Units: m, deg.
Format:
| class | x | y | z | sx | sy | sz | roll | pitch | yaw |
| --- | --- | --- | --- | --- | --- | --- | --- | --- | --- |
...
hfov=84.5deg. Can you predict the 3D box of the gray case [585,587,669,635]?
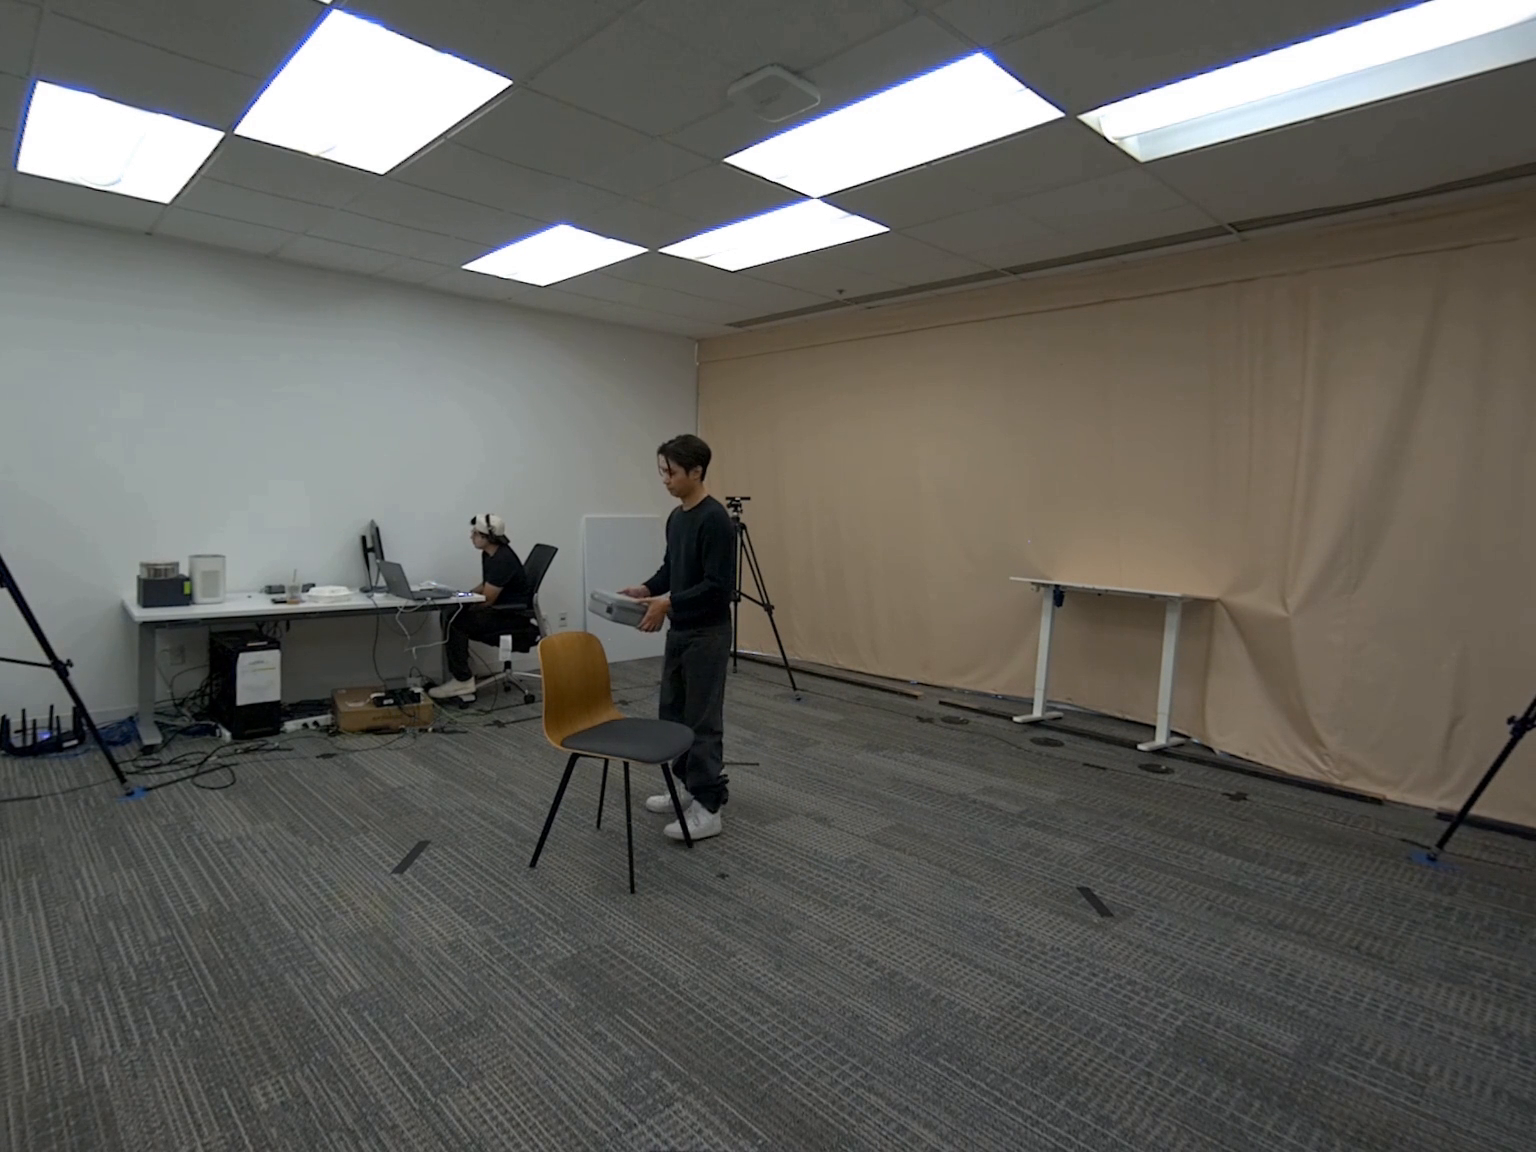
| class | x | y | z | sx | sy | sz | roll | pitch | yaw |
| --- | --- | --- | --- | --- | --- | --- | --- | --- | --- |
| gray case | -0.578 | 0.142 | 3.499 | 0.254 | 0.104 | 0.263 | 16 | -2 | -32 |
